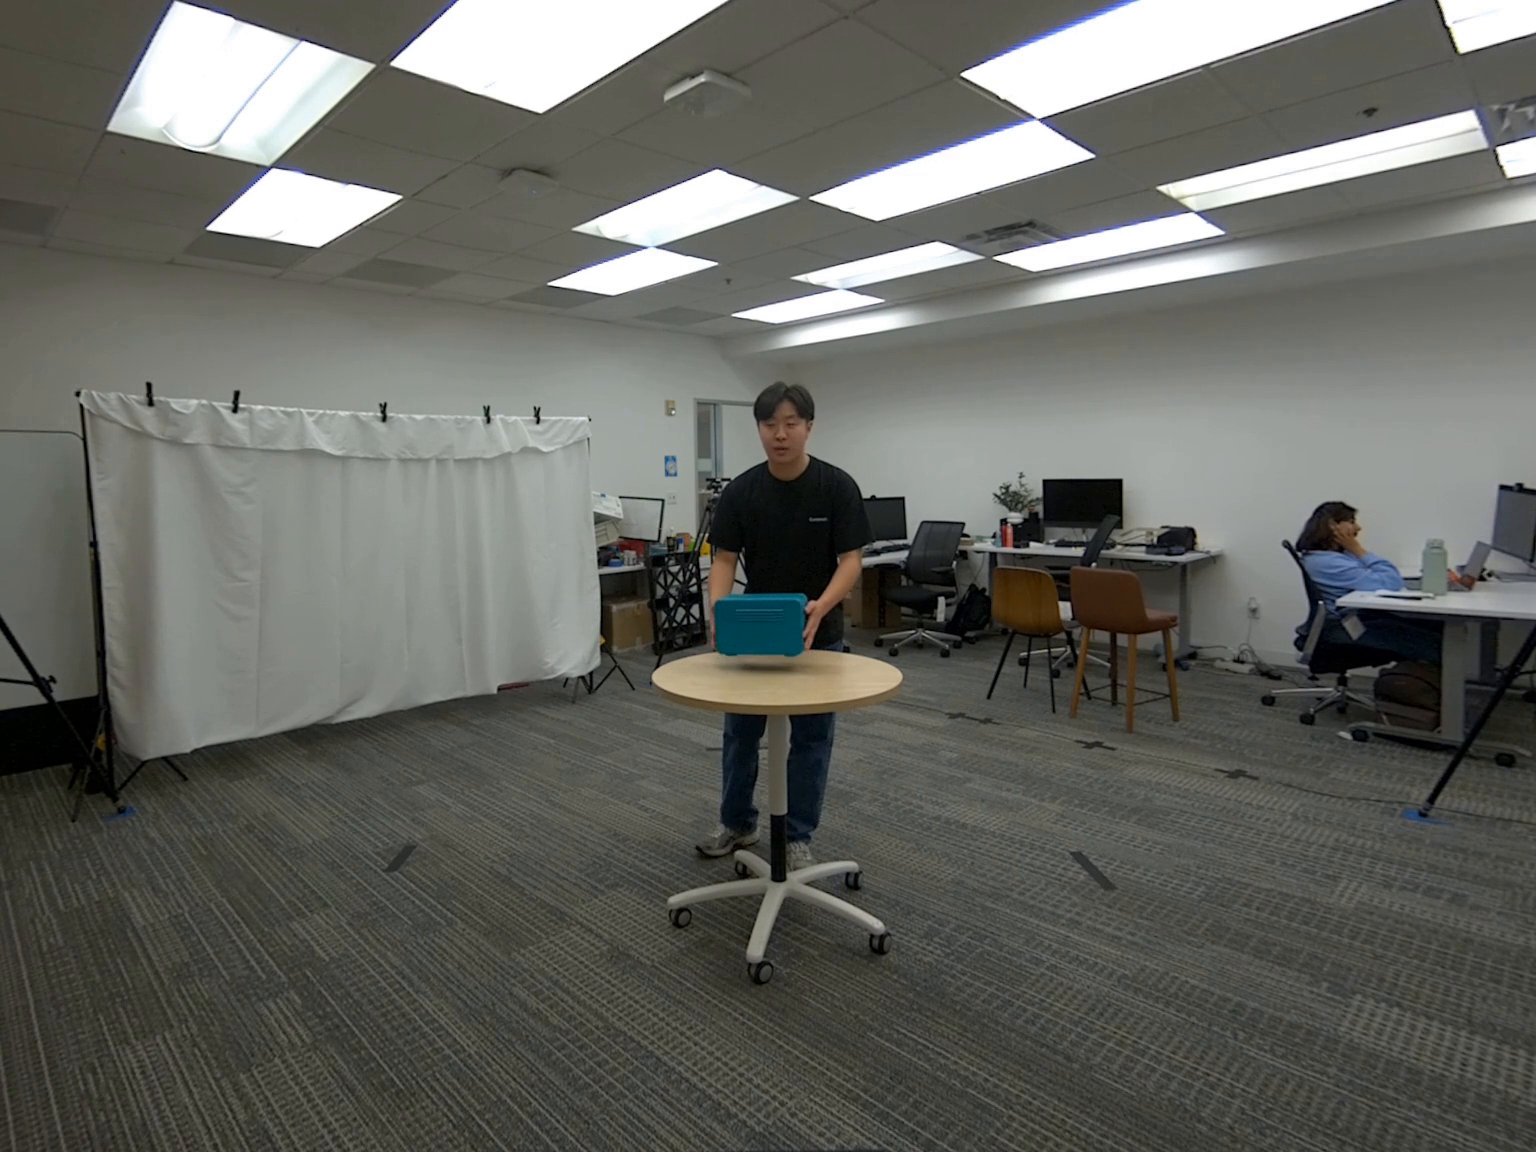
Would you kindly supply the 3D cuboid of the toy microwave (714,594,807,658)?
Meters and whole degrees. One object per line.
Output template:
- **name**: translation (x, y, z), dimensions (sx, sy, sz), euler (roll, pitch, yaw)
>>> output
- **toy microwave**: translation (-0.006, 0.155, 2.693), dimensions (0.290, 0.183, 0.150), euler (-1, 4, 15)
